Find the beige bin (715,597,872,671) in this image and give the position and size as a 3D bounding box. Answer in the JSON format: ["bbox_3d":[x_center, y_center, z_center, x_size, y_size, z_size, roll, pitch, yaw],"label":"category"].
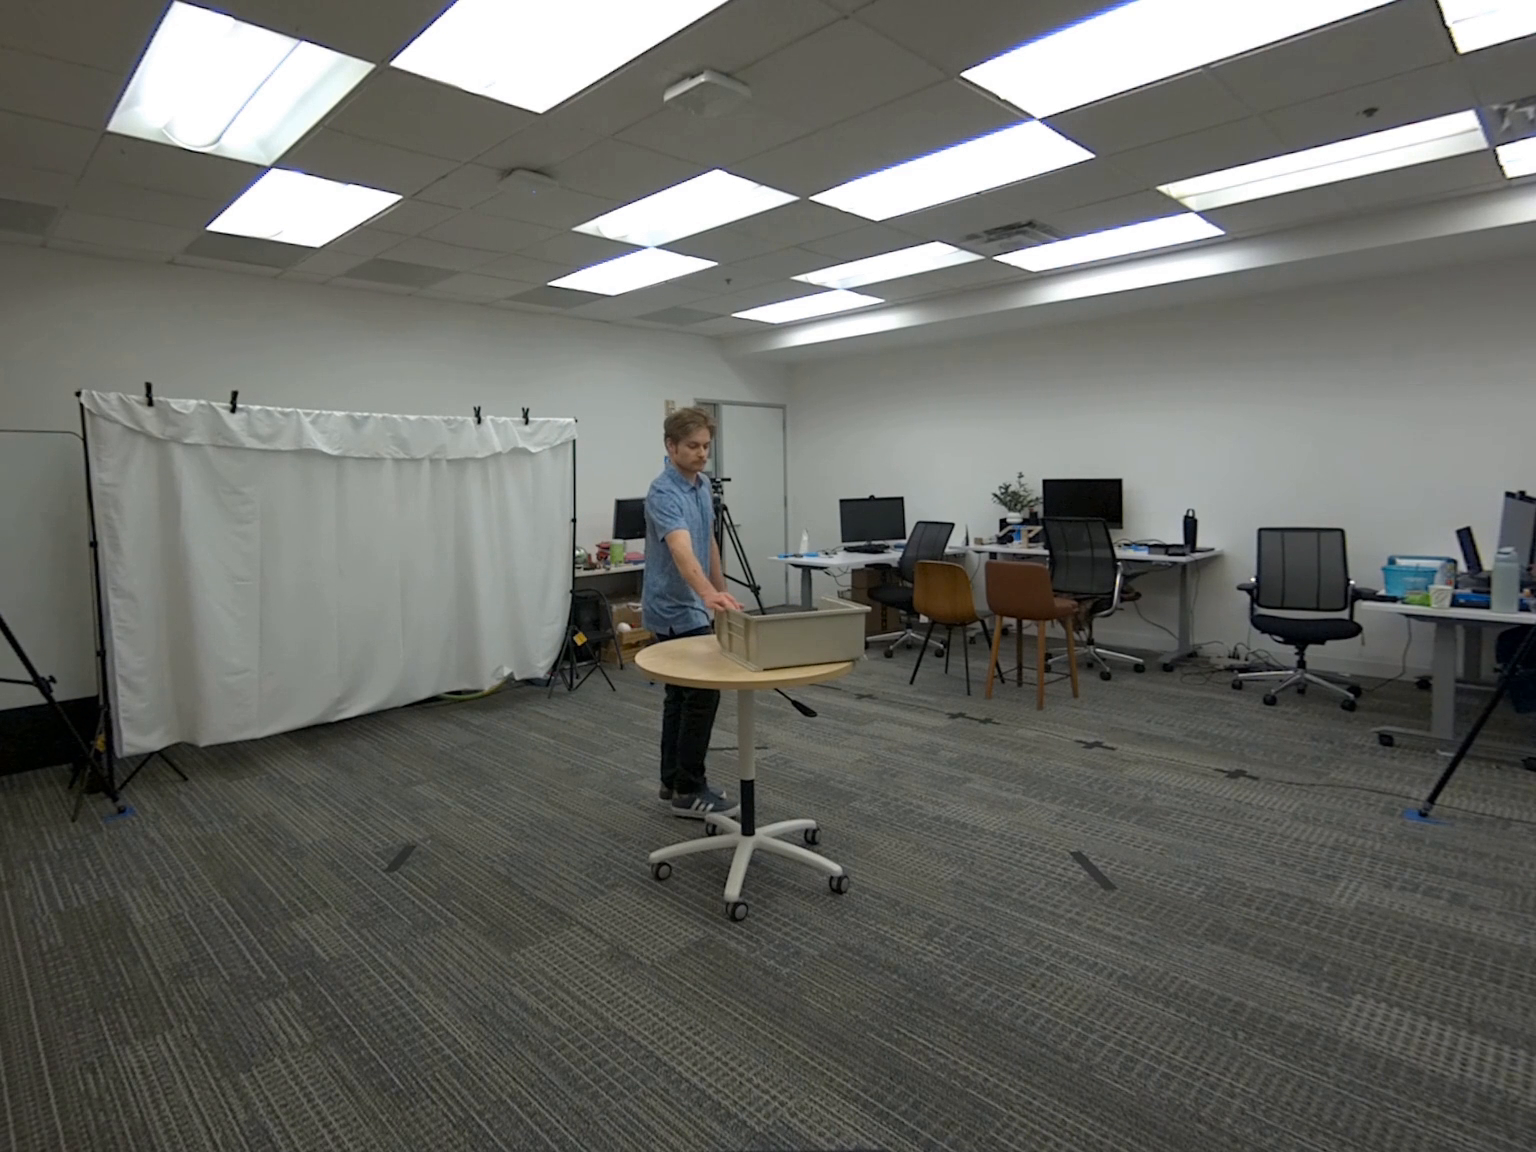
[{"bbox_3d":[0.075,0.185,2.933,0.415,0.188,0.386,-3,8,-21],"label":"beige bin"}]
